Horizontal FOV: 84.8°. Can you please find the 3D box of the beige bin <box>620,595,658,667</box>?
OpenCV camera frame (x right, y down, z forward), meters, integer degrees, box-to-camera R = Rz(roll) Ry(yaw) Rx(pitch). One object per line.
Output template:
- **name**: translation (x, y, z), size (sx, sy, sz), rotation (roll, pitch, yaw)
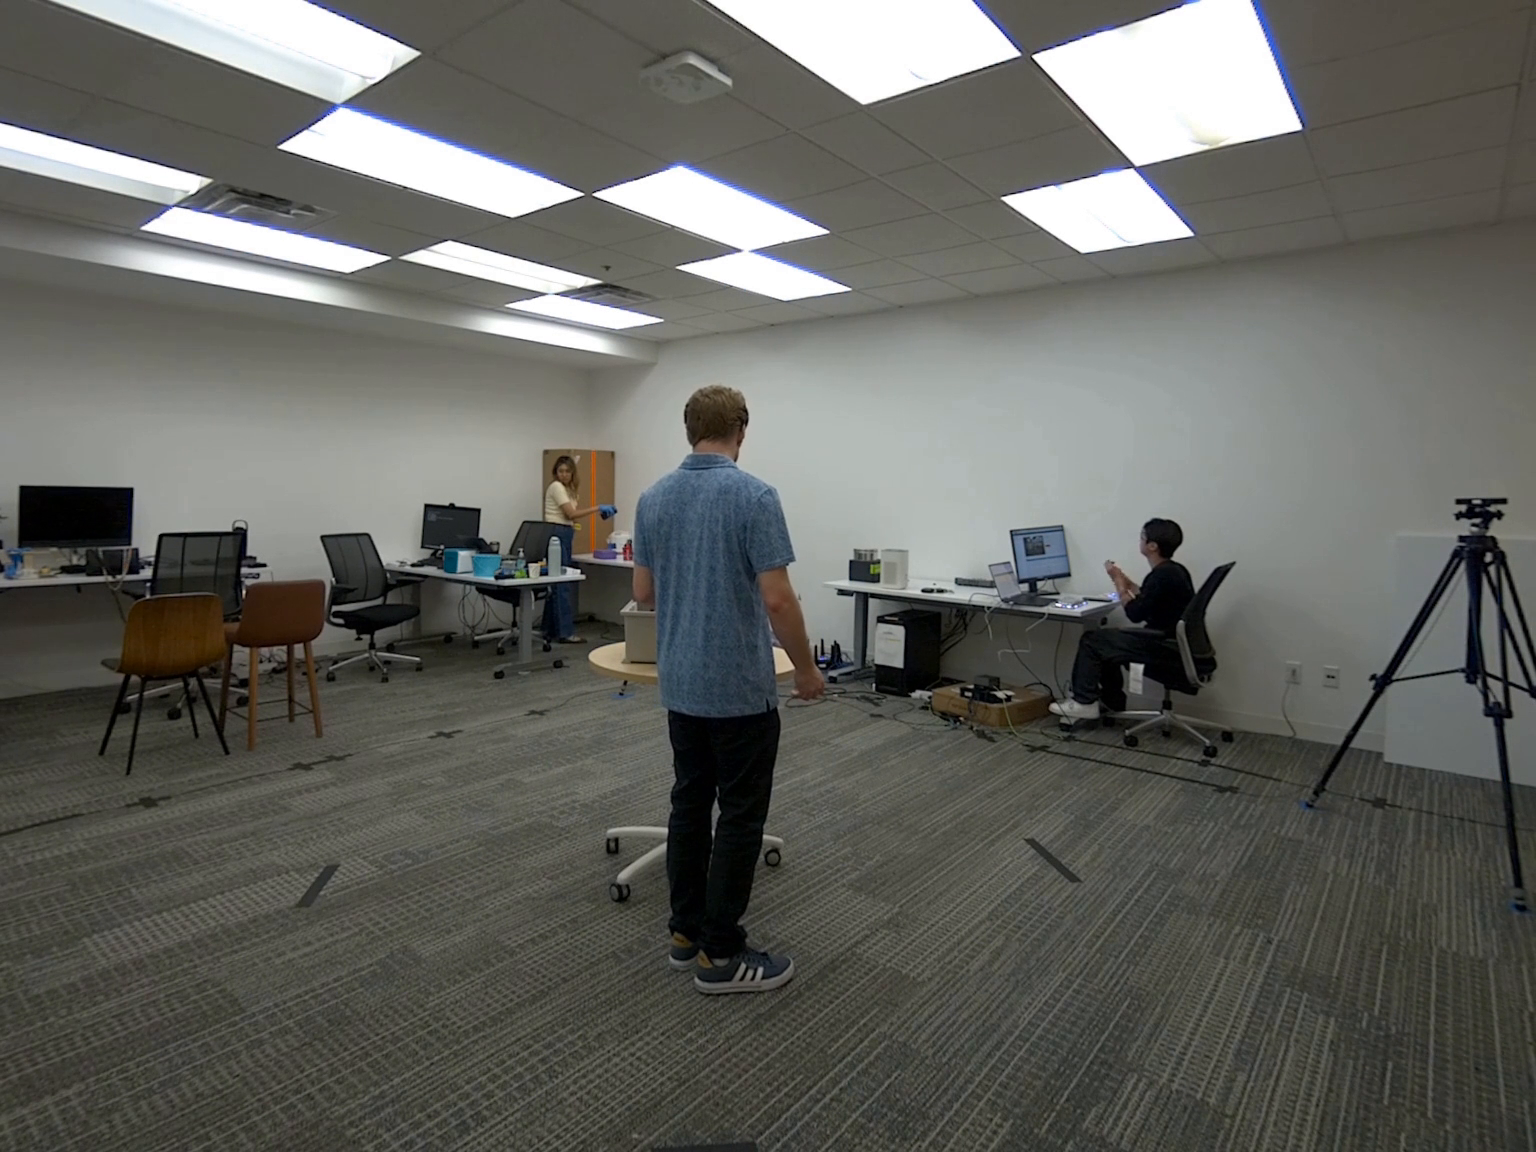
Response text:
- **beige bin**: translation (-0.310, 0.195, 3.077), size (0.422, 0.188, 0.380), rotation (1, 6, -2)
